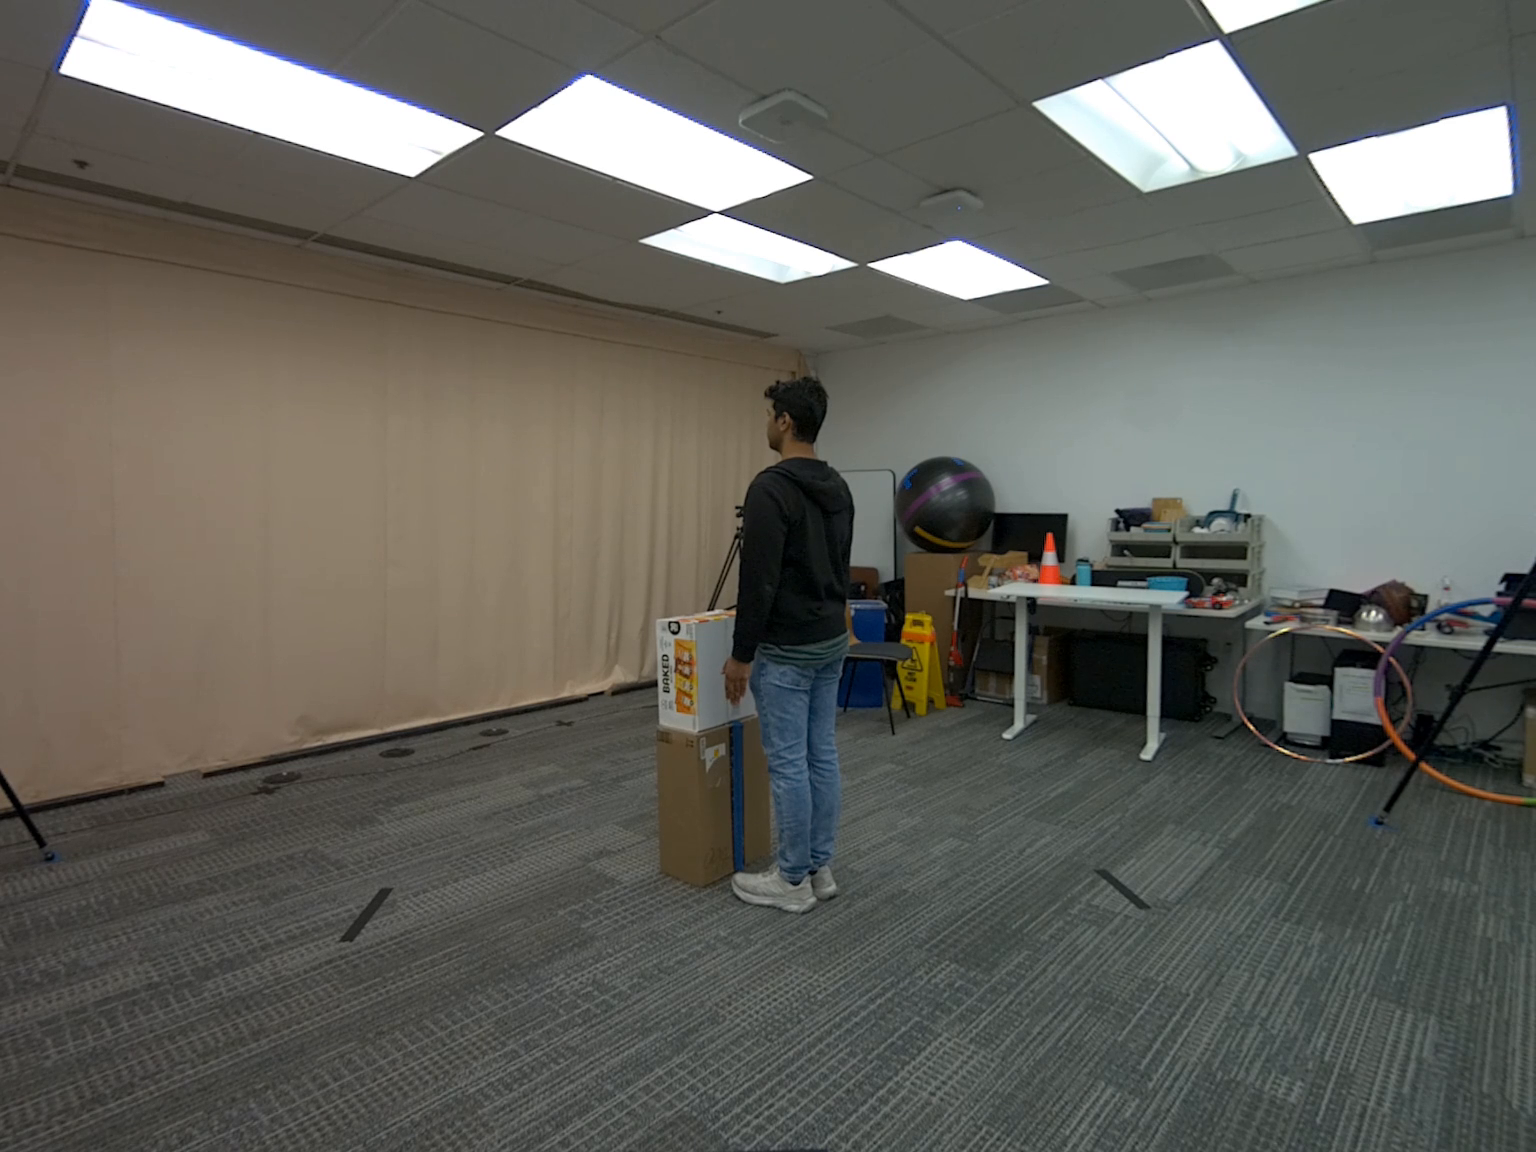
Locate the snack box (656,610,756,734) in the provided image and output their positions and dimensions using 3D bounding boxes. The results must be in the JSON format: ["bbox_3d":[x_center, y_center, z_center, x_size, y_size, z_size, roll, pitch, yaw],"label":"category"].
[{"bbox_3d":[-0.228,0.354,3.253,0.212,0.405,0.330,0,3,41],"label":"snack box"}]
